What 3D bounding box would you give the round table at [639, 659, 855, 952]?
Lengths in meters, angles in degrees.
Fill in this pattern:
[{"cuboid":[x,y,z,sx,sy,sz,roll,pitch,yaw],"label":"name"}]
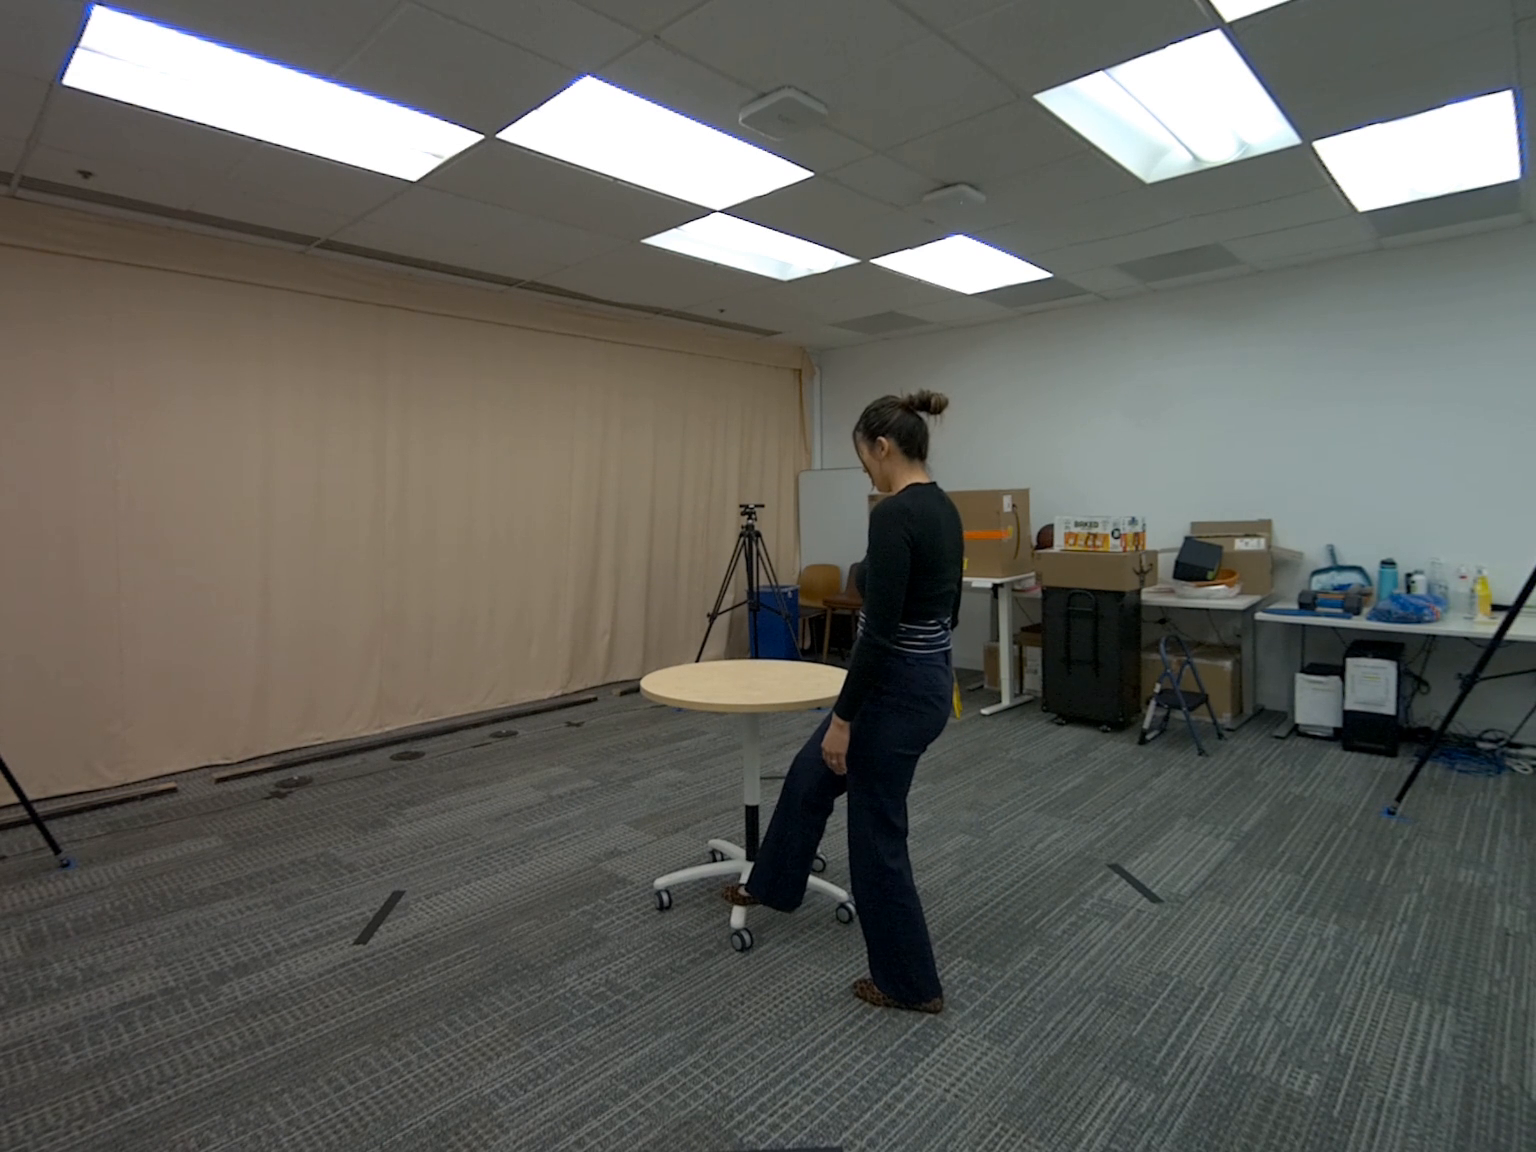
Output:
[{"cuboid":[-0.055,0.754,2.956,0.763,0.792,0.766,-1,3,-2],"label":"round table"}]
